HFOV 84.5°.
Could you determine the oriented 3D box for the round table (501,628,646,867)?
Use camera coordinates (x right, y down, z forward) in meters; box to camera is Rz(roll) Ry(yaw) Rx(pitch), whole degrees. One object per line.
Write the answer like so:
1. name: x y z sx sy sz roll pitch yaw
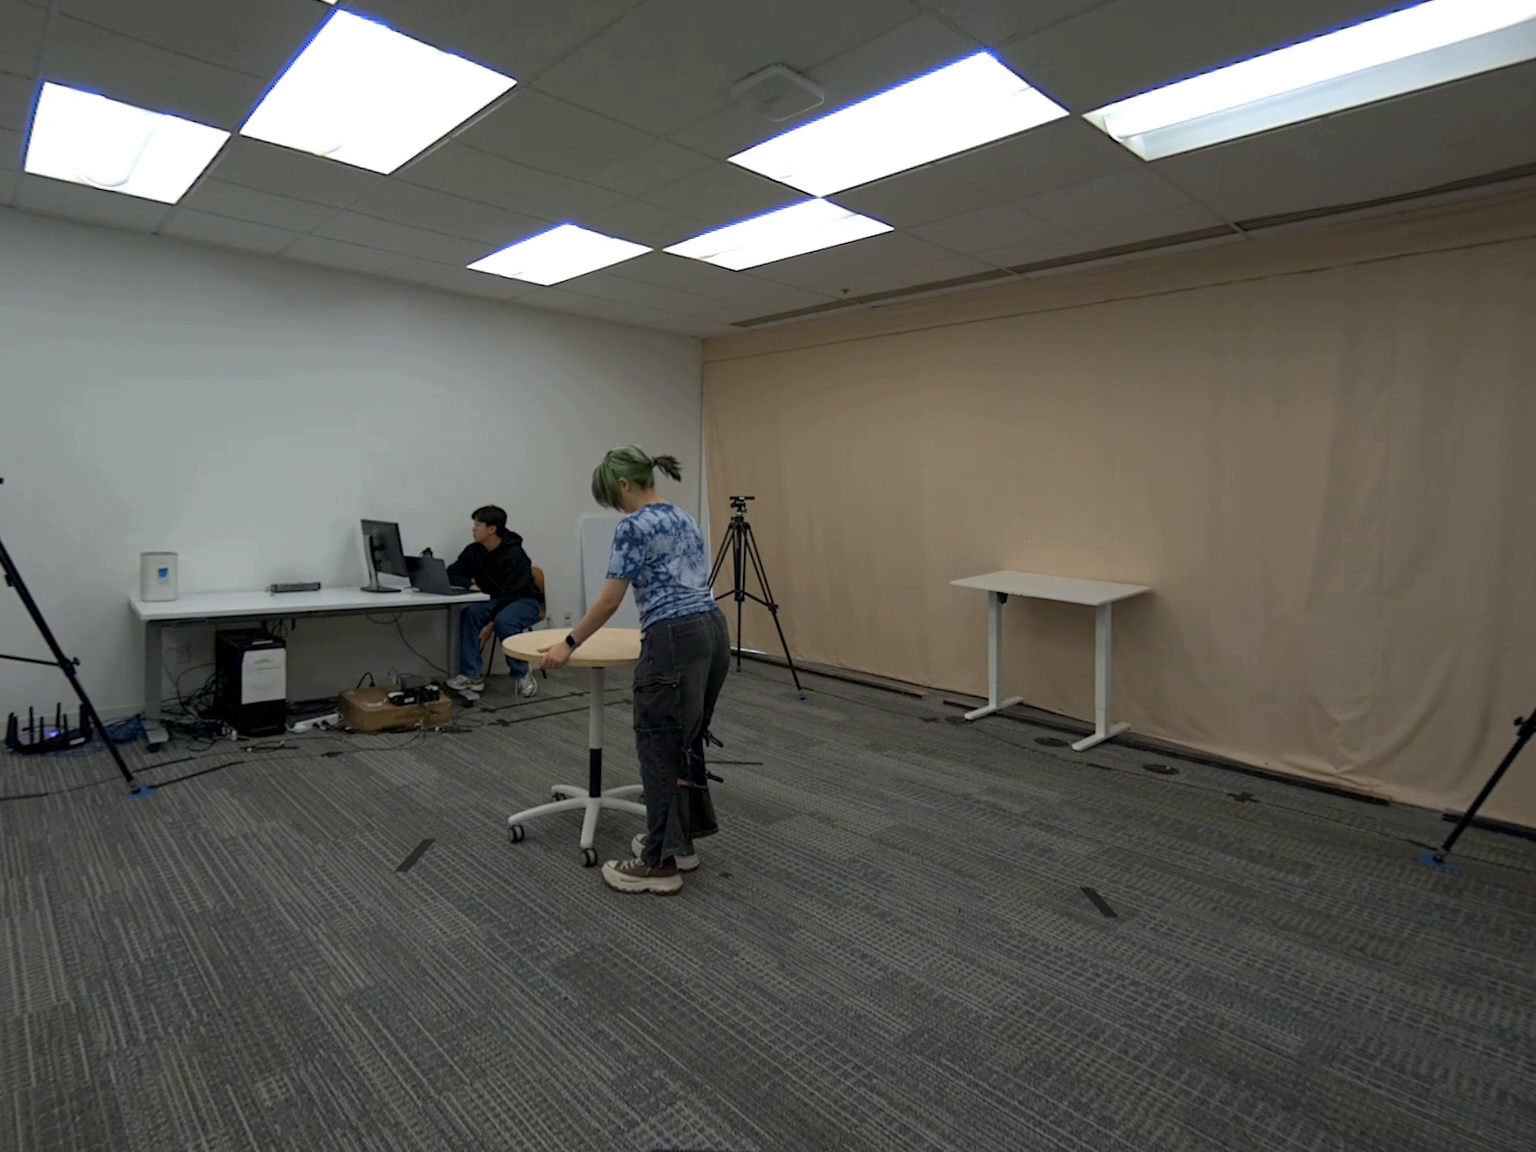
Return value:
1. round table: -0.723 0.667 3.489 0.763 0.792 0.766 1 4 -1
